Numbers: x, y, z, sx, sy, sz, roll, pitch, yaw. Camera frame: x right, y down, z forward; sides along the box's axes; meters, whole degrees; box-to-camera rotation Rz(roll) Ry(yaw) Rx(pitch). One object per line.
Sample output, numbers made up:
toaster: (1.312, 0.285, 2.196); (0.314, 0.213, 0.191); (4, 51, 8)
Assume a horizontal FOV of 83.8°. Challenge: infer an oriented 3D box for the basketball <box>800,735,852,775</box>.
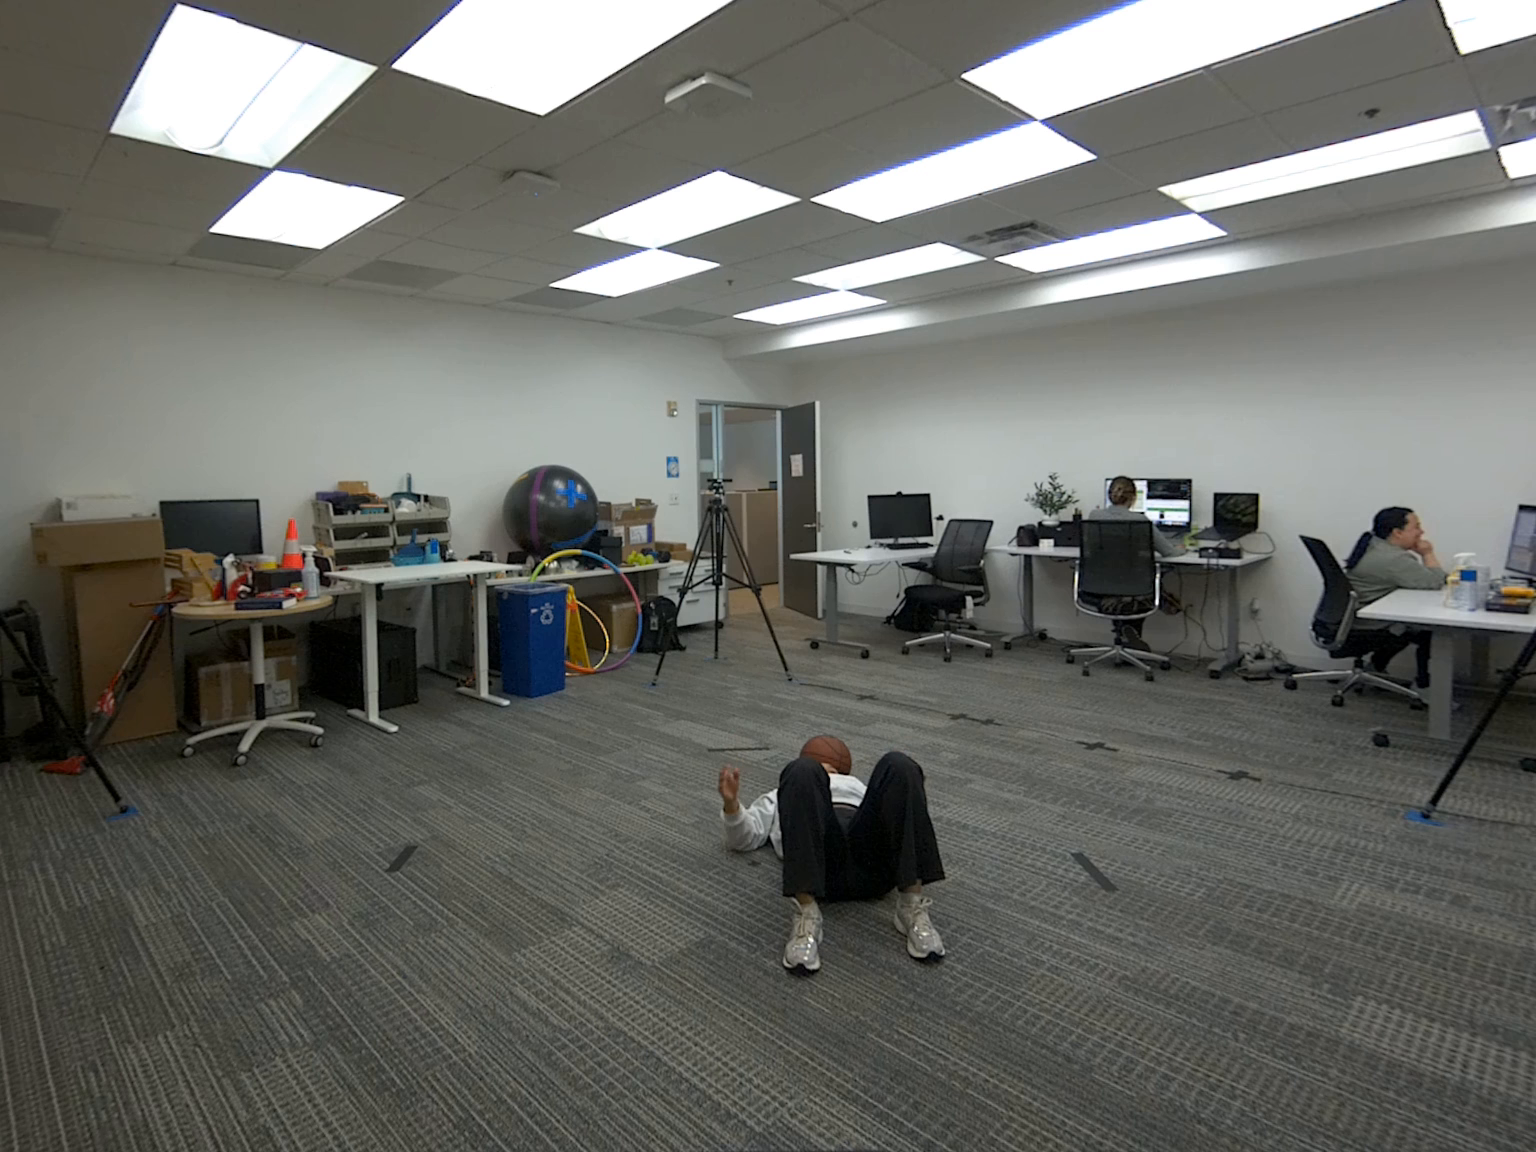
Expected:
basketball: (0.259, 0.841, 3.847); (0.236, 0.235, 0.237); (-1, 5, -2)
